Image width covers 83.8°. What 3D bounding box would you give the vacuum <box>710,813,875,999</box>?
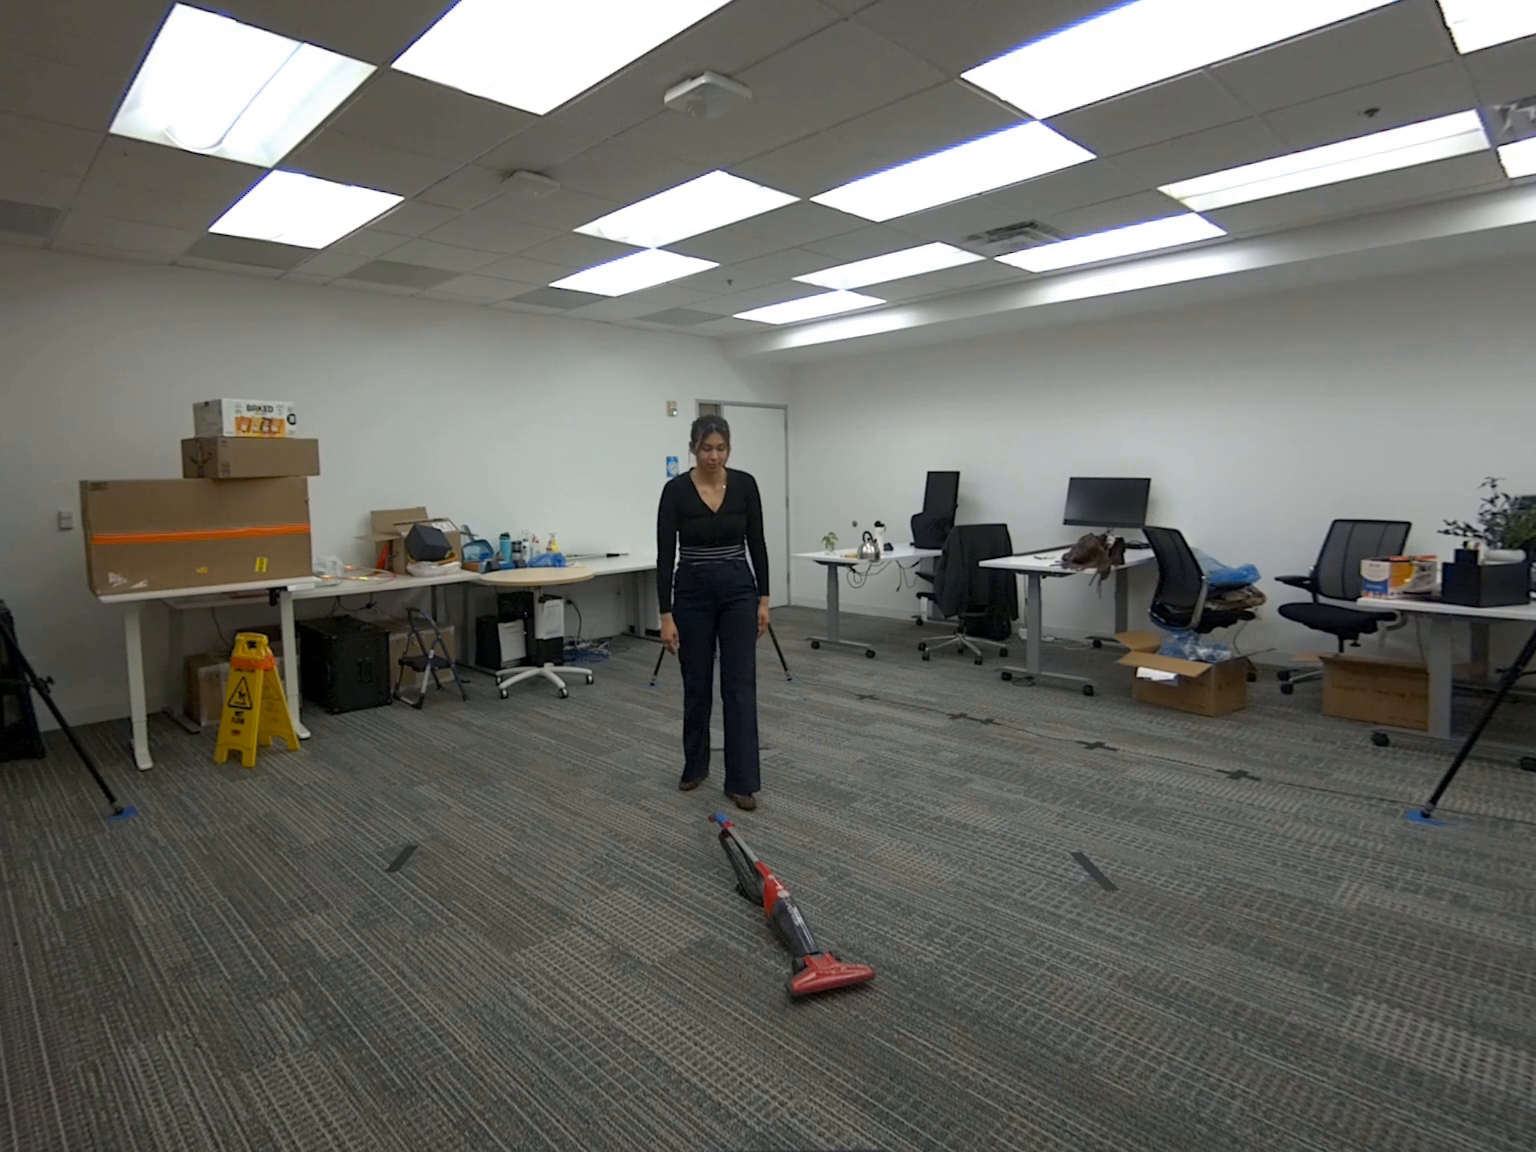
[{"bbox_3d":[-0.024,1.018,2.850,0.248,0.143,1.072,1,7,-19],"label":"vacuum"}]
